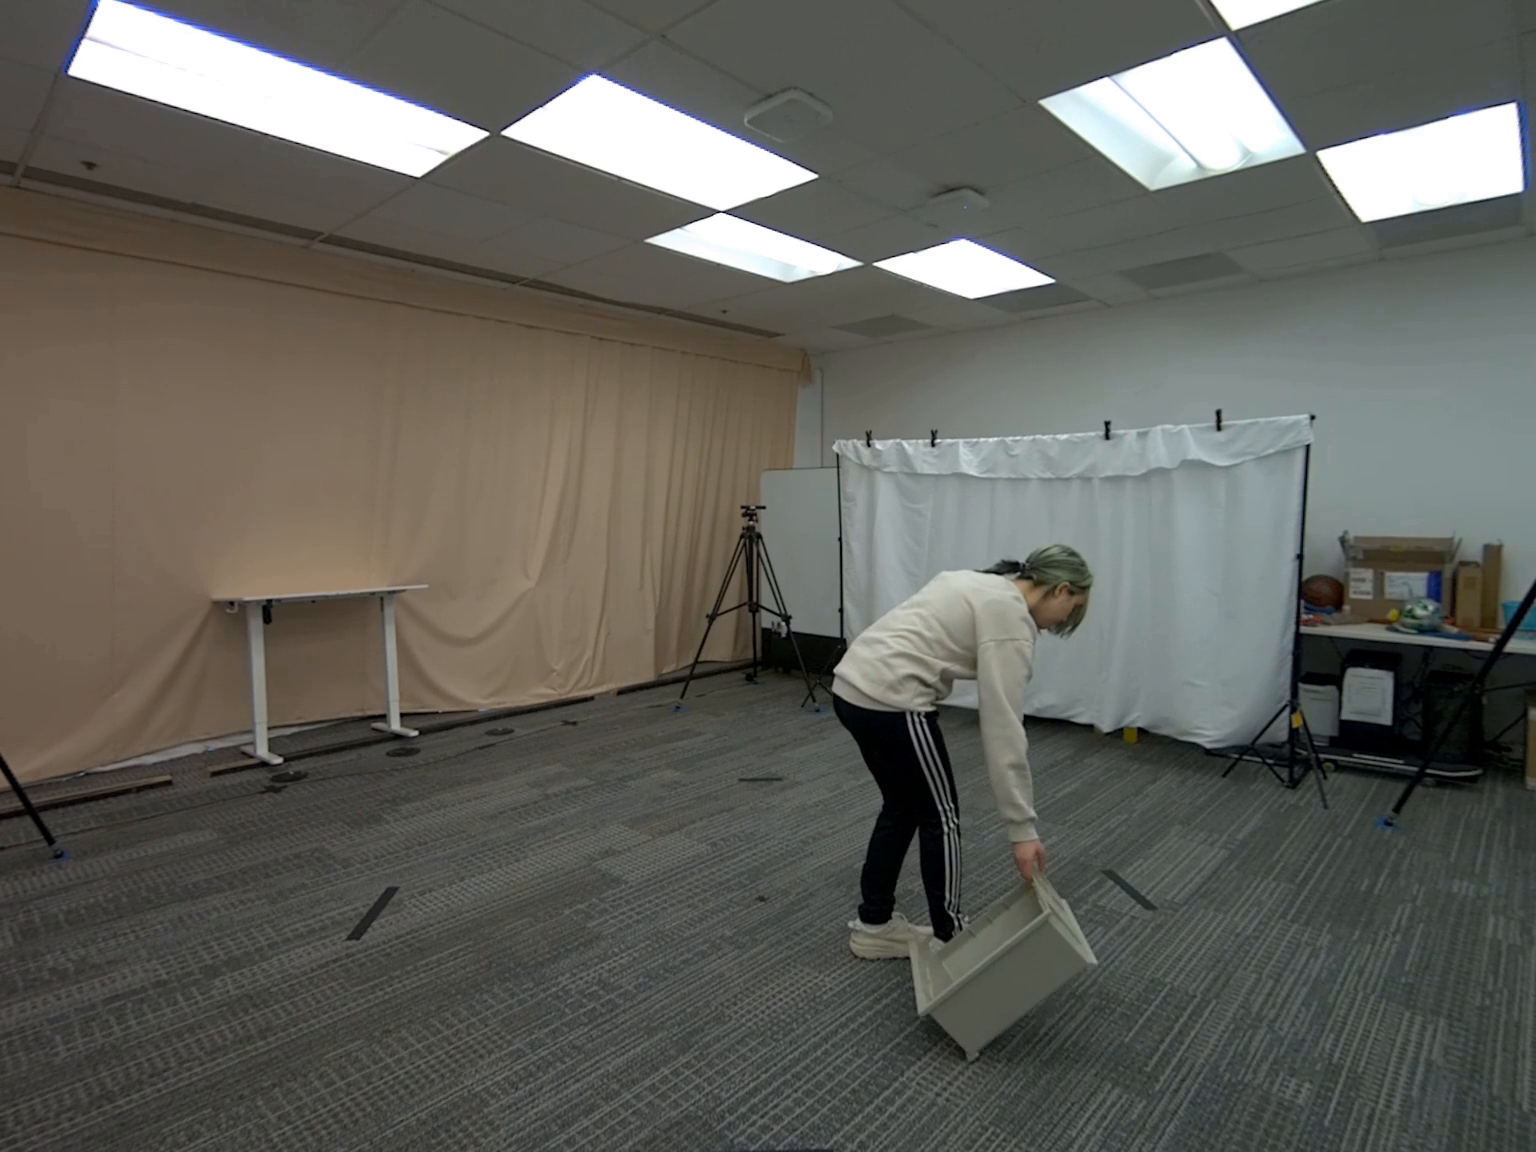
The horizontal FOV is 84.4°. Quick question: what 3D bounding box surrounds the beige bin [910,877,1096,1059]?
[{"bbox_3d":[0.613,0.995,2.235,0.424,0.189,0.375,-42,1,9],"label":"beige bin"}]
